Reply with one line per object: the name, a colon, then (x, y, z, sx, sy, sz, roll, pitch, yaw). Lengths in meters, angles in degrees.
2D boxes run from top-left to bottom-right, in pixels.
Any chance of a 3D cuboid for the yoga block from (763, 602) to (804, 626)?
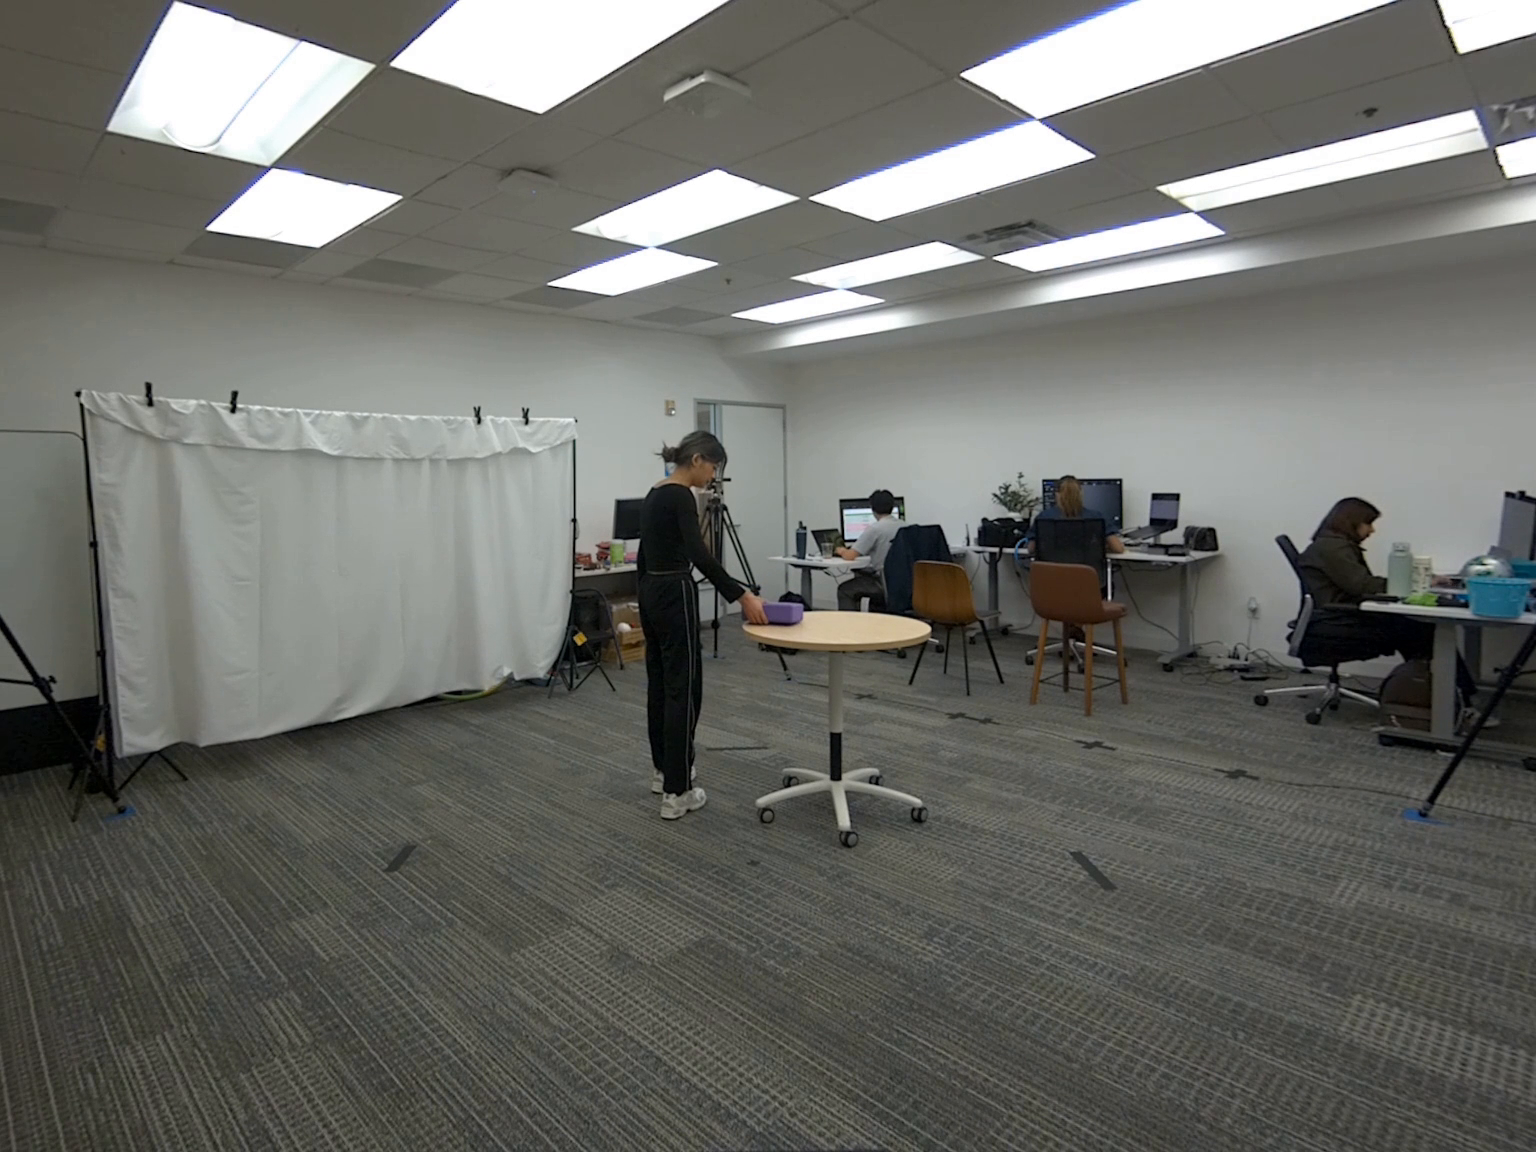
yoga block: (0.018, 0.150, 3.594, 0.234, 0.076, 0.146, 2, 0, 22)
